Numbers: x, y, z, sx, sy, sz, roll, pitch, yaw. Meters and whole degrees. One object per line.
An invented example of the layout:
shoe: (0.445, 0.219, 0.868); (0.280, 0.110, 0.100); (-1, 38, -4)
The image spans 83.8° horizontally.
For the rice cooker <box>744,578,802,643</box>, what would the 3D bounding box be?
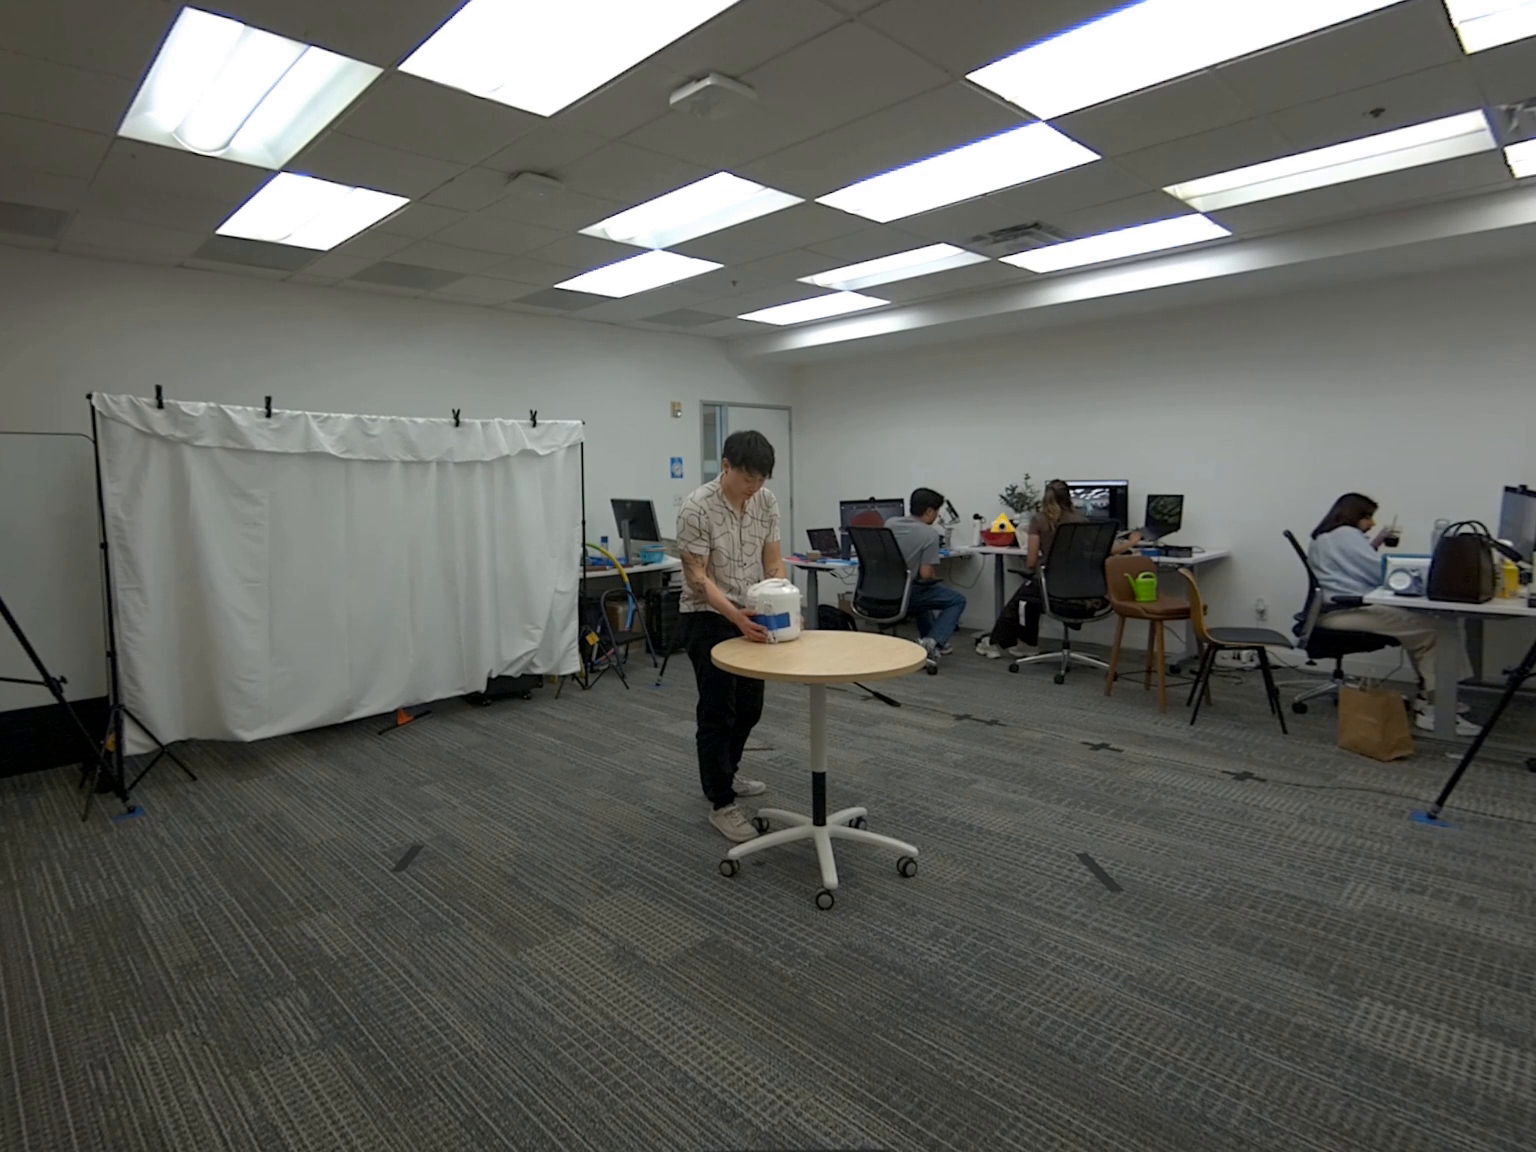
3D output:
rice cooker: (0.022, 0.131, 3.279); (0.215, 0.232, 0.224); (-5, 7, -37)
